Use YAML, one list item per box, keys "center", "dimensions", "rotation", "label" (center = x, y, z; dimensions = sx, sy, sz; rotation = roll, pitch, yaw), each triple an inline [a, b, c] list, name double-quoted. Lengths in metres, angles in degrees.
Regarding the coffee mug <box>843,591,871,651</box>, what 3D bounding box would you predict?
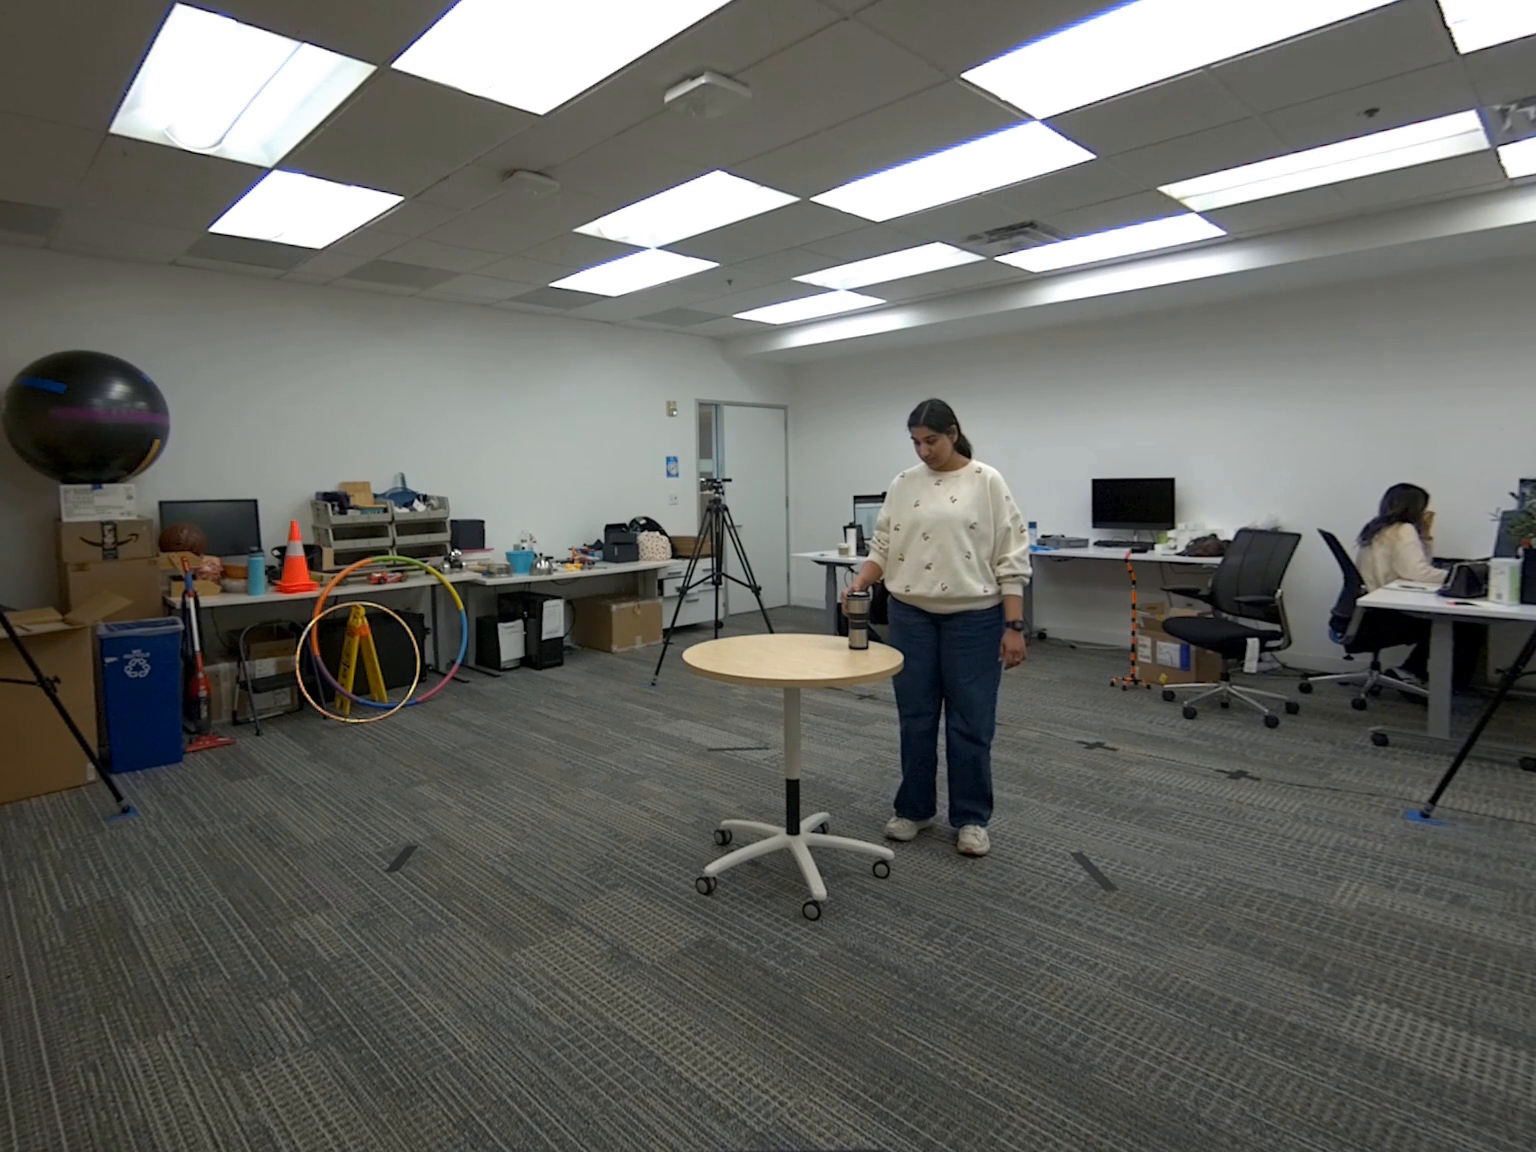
- center: [0.338, 0.161, 3.082]
  dimensions: [0.119, 0.203, 0.090]
  rotation: [-7, 2, -39]
  label: "coffee mug"
